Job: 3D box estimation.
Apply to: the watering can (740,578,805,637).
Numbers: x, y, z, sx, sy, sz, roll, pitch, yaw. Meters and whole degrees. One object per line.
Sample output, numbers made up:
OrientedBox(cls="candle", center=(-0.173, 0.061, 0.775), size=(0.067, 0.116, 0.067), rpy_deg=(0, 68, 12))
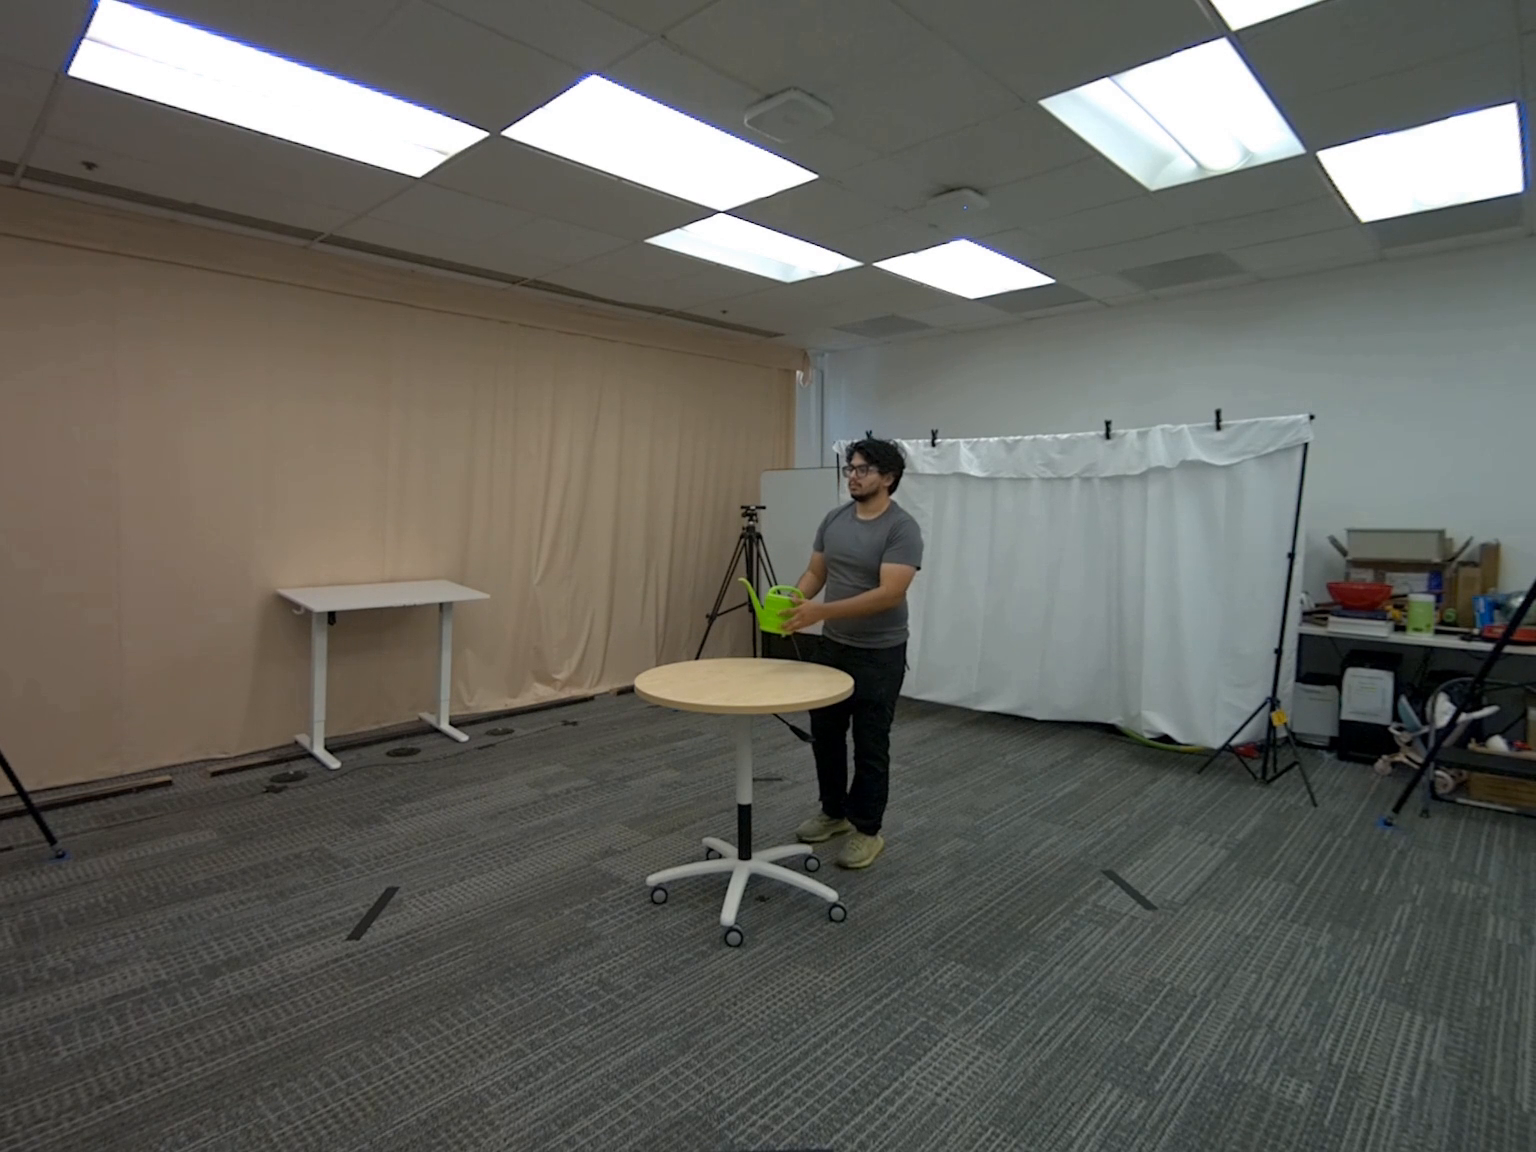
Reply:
OrientedBox(cls="watering can", center=(0.012, 0.115, 3.137), size=(0.276, 0.177, 0.098), rpy_deg=(9, 1, -5))
